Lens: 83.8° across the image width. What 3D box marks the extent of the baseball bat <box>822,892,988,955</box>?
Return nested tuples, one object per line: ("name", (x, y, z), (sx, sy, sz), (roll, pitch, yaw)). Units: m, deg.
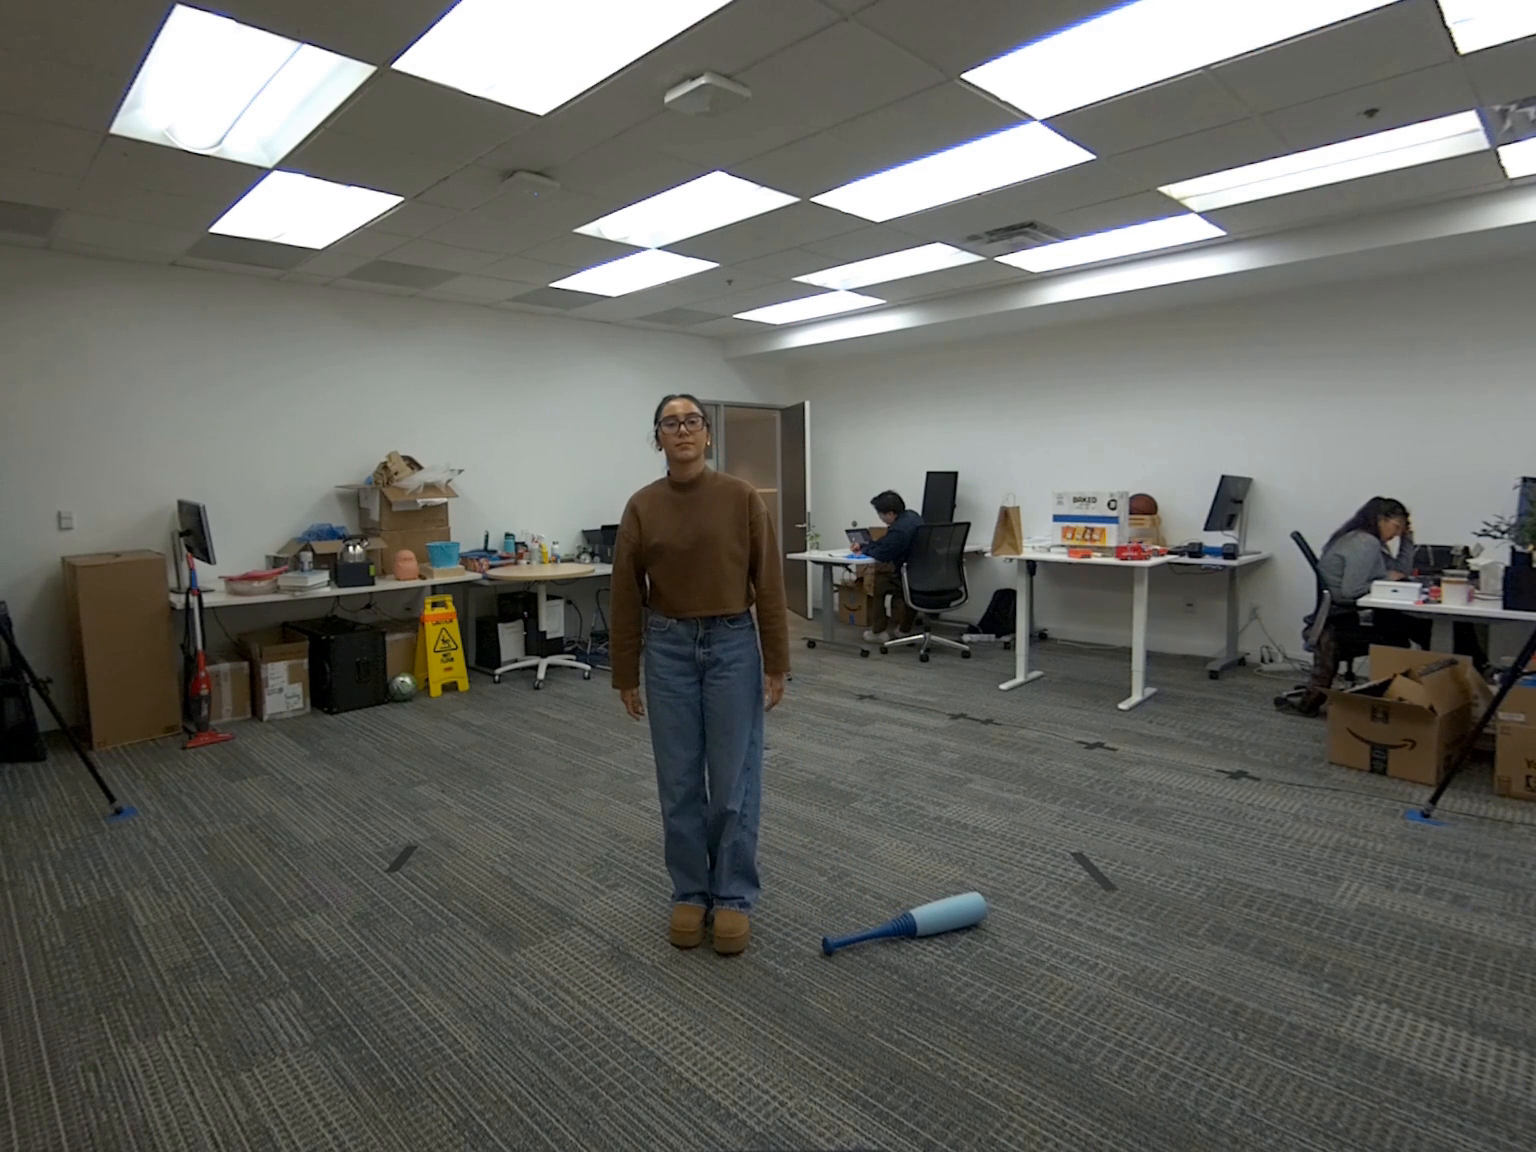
("baseball bat", (0.418, 1.053, 2.584), (0.535, 0.088, 0.091), (-6, 6, -17))
